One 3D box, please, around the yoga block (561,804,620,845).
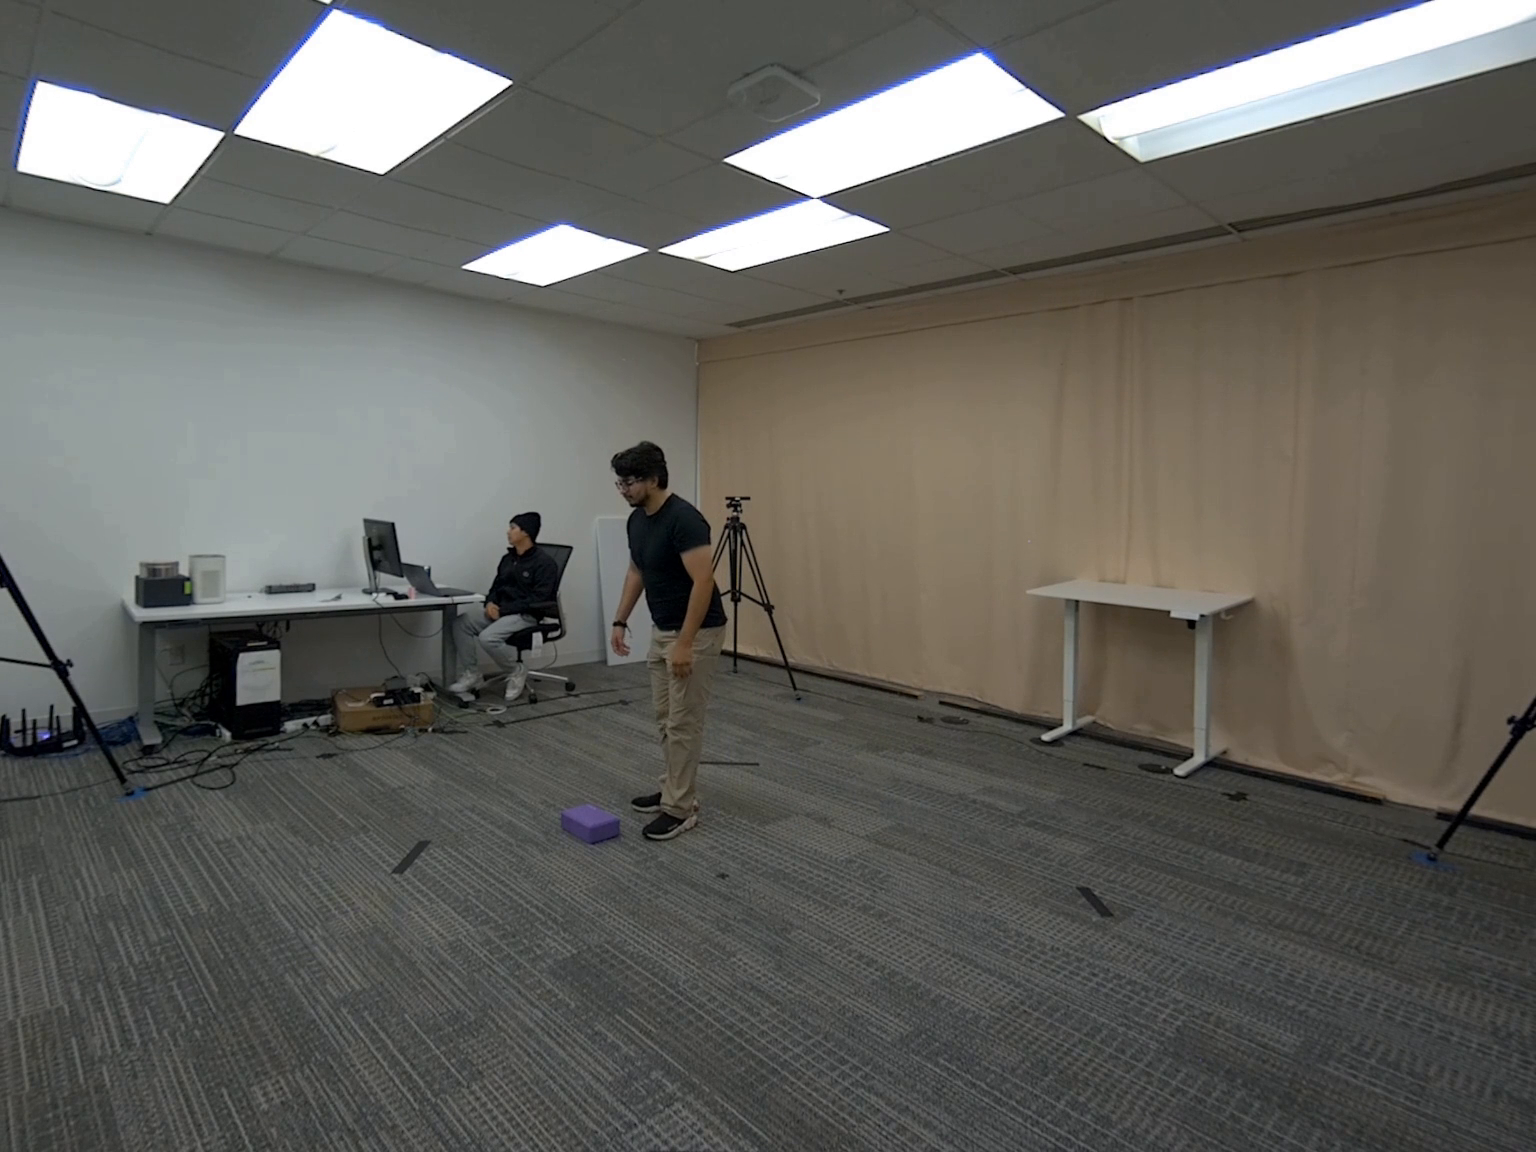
[{"bbox_3d":[-0.740,1.020,3.476,0.146,0.076,0.235,-4,7,-43],"label":"yoga block"}]
